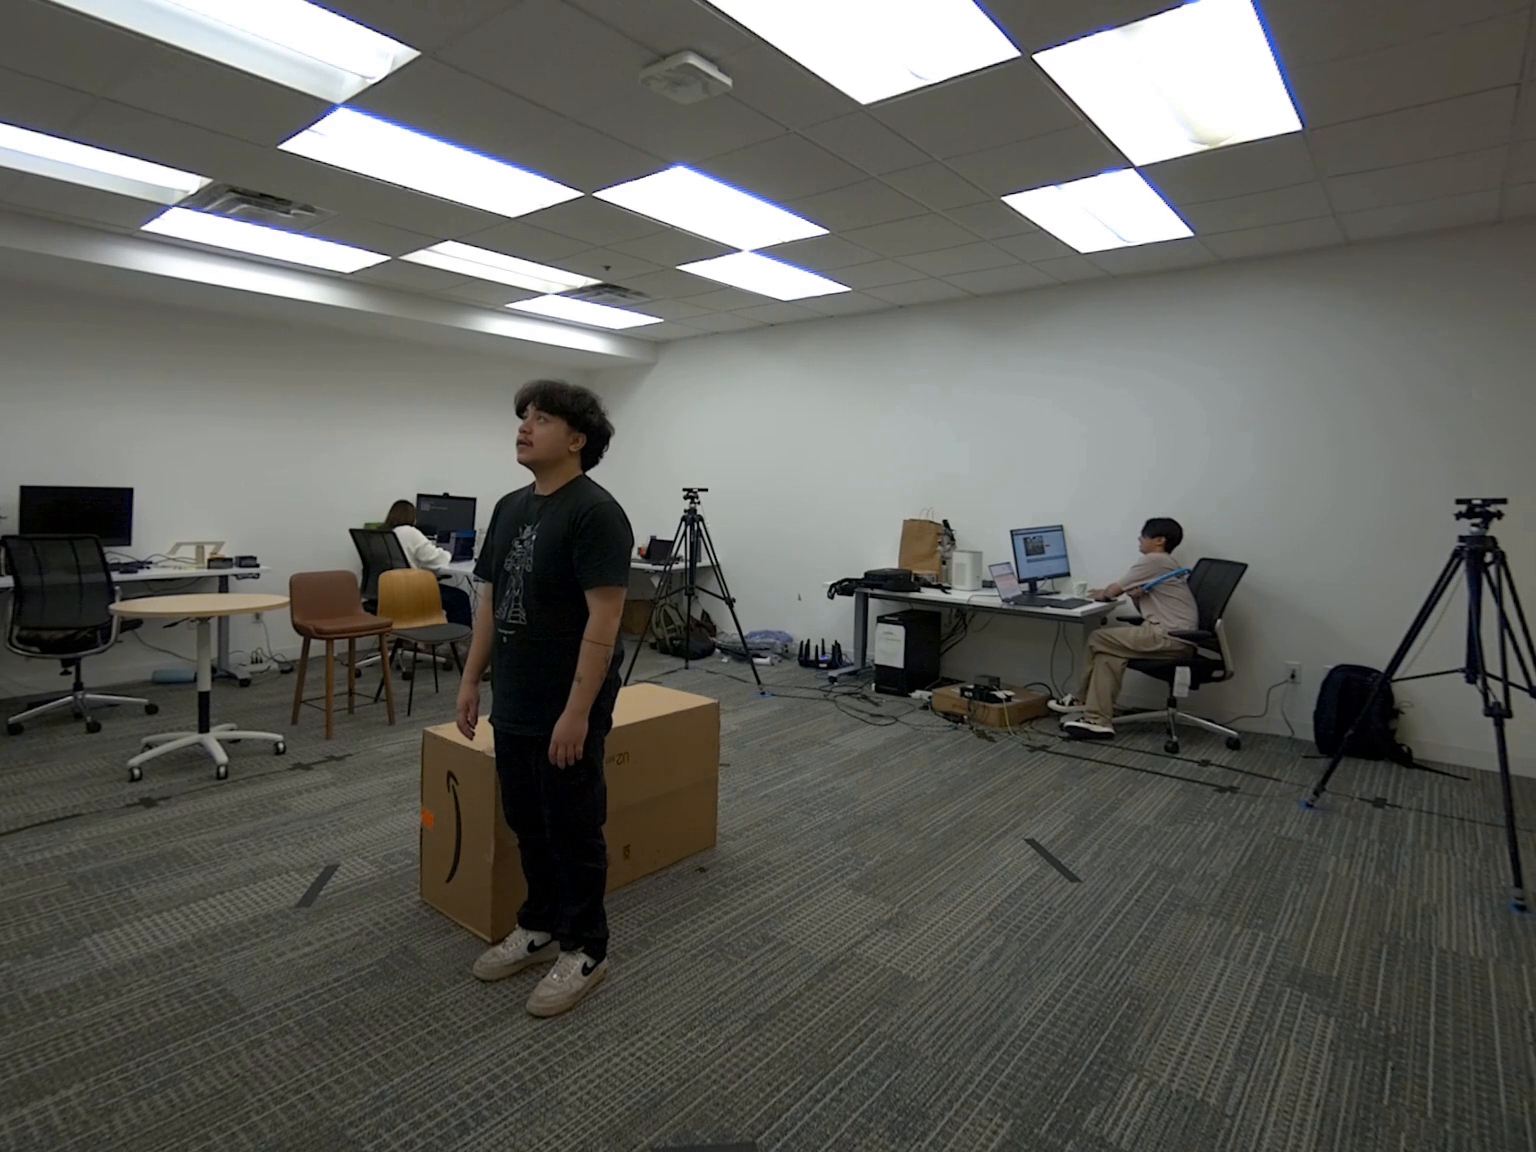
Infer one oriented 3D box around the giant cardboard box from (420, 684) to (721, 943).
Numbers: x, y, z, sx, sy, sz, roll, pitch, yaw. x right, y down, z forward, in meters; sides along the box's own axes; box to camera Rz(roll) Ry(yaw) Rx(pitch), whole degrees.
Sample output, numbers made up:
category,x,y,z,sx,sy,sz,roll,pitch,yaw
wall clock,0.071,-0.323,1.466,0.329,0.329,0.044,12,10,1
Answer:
category,x,y,z,sx,sy,sz,roll,pitch,yaw
giant cardboard box,-0.686,0.781,3.073,0.461,0.582,0.996,3,4,39
